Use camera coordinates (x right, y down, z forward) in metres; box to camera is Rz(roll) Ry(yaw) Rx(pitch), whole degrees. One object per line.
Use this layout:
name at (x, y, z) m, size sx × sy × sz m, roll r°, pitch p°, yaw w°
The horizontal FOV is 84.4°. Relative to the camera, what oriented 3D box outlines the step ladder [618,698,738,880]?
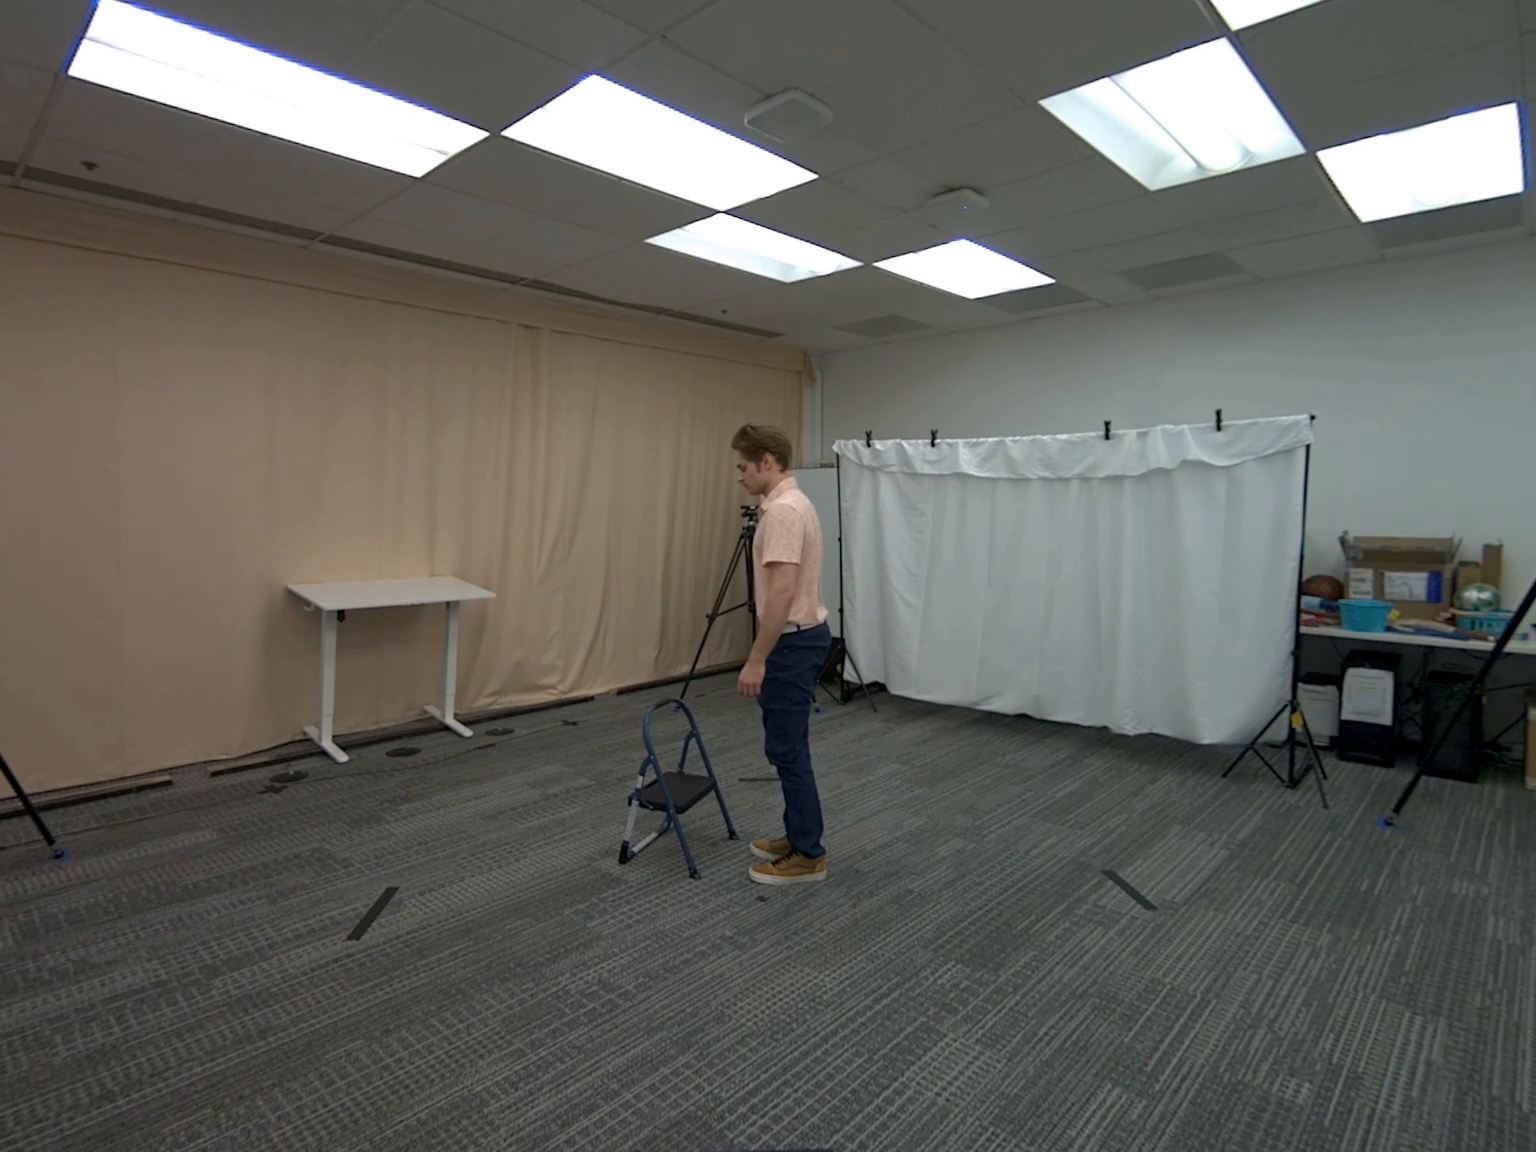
step ladder at (-0.358, 0.811, 3.394) m, size 0.357 × 0.605 × 0.422 m, roll 0°, pitch 3°, yaw 21°
